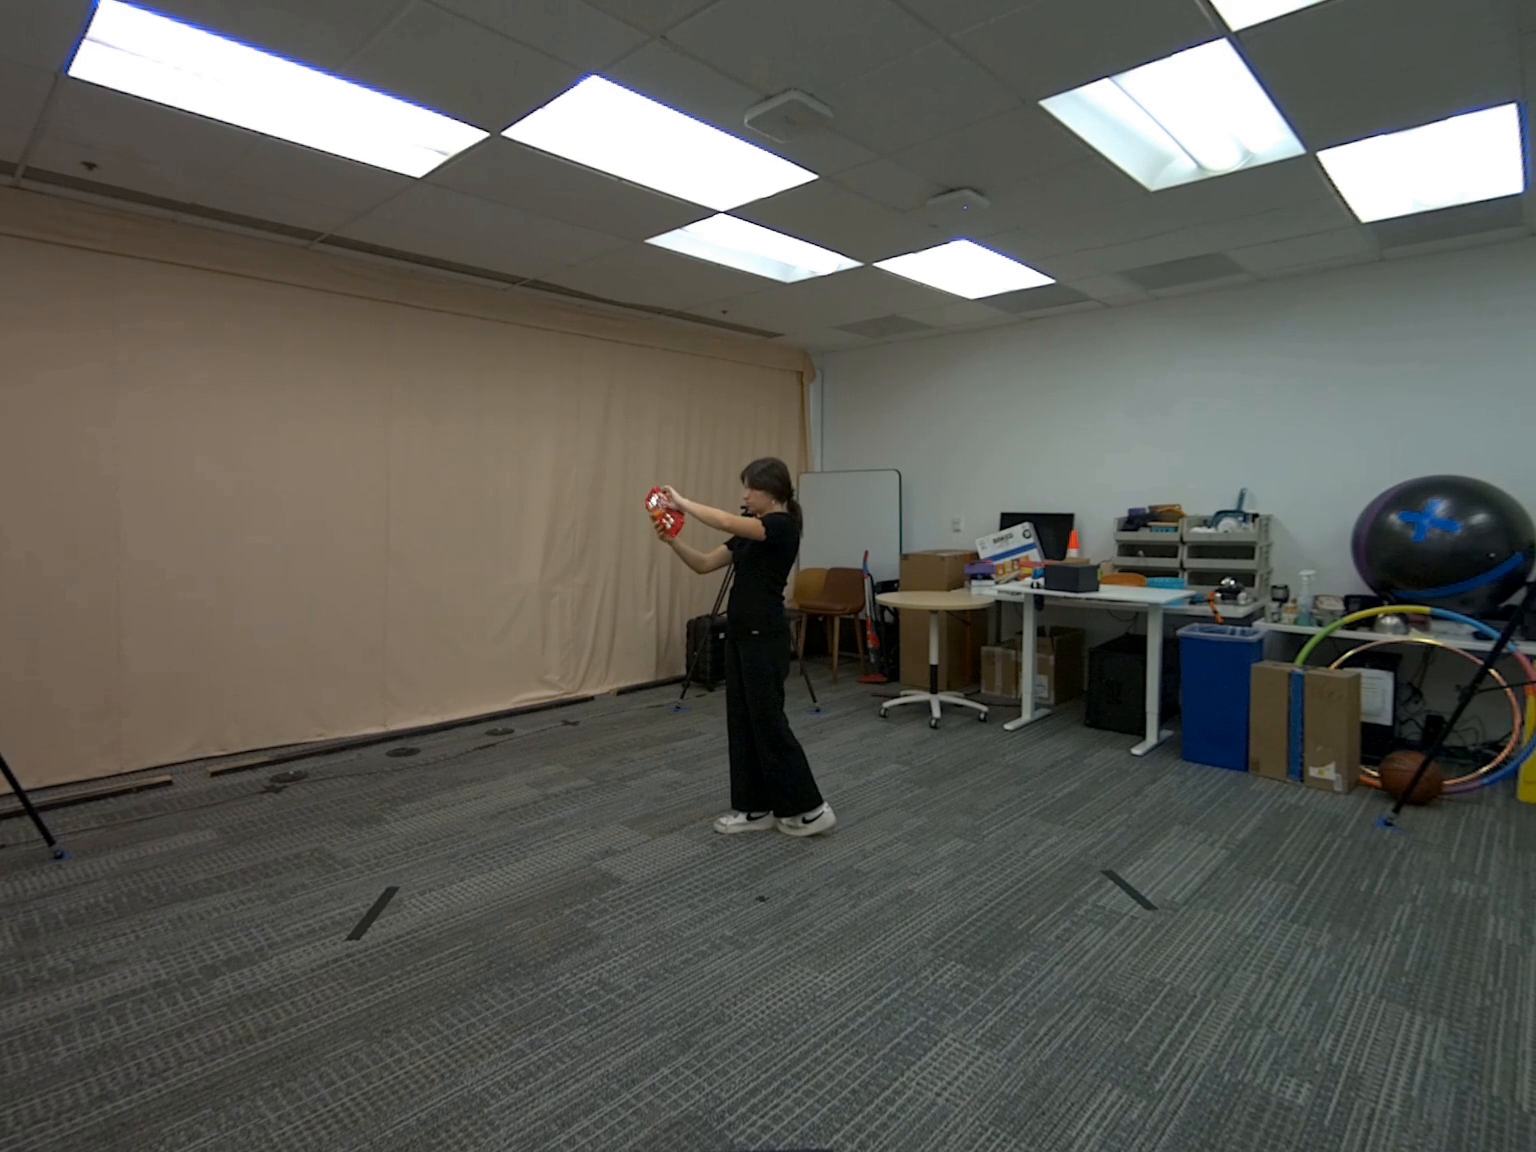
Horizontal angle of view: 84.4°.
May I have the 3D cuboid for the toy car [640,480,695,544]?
[{"bbox_3d":[-0.419,-0.265,3.499,0.080,0.130,0.263,6,36,-41],"label":"toy car"}]
